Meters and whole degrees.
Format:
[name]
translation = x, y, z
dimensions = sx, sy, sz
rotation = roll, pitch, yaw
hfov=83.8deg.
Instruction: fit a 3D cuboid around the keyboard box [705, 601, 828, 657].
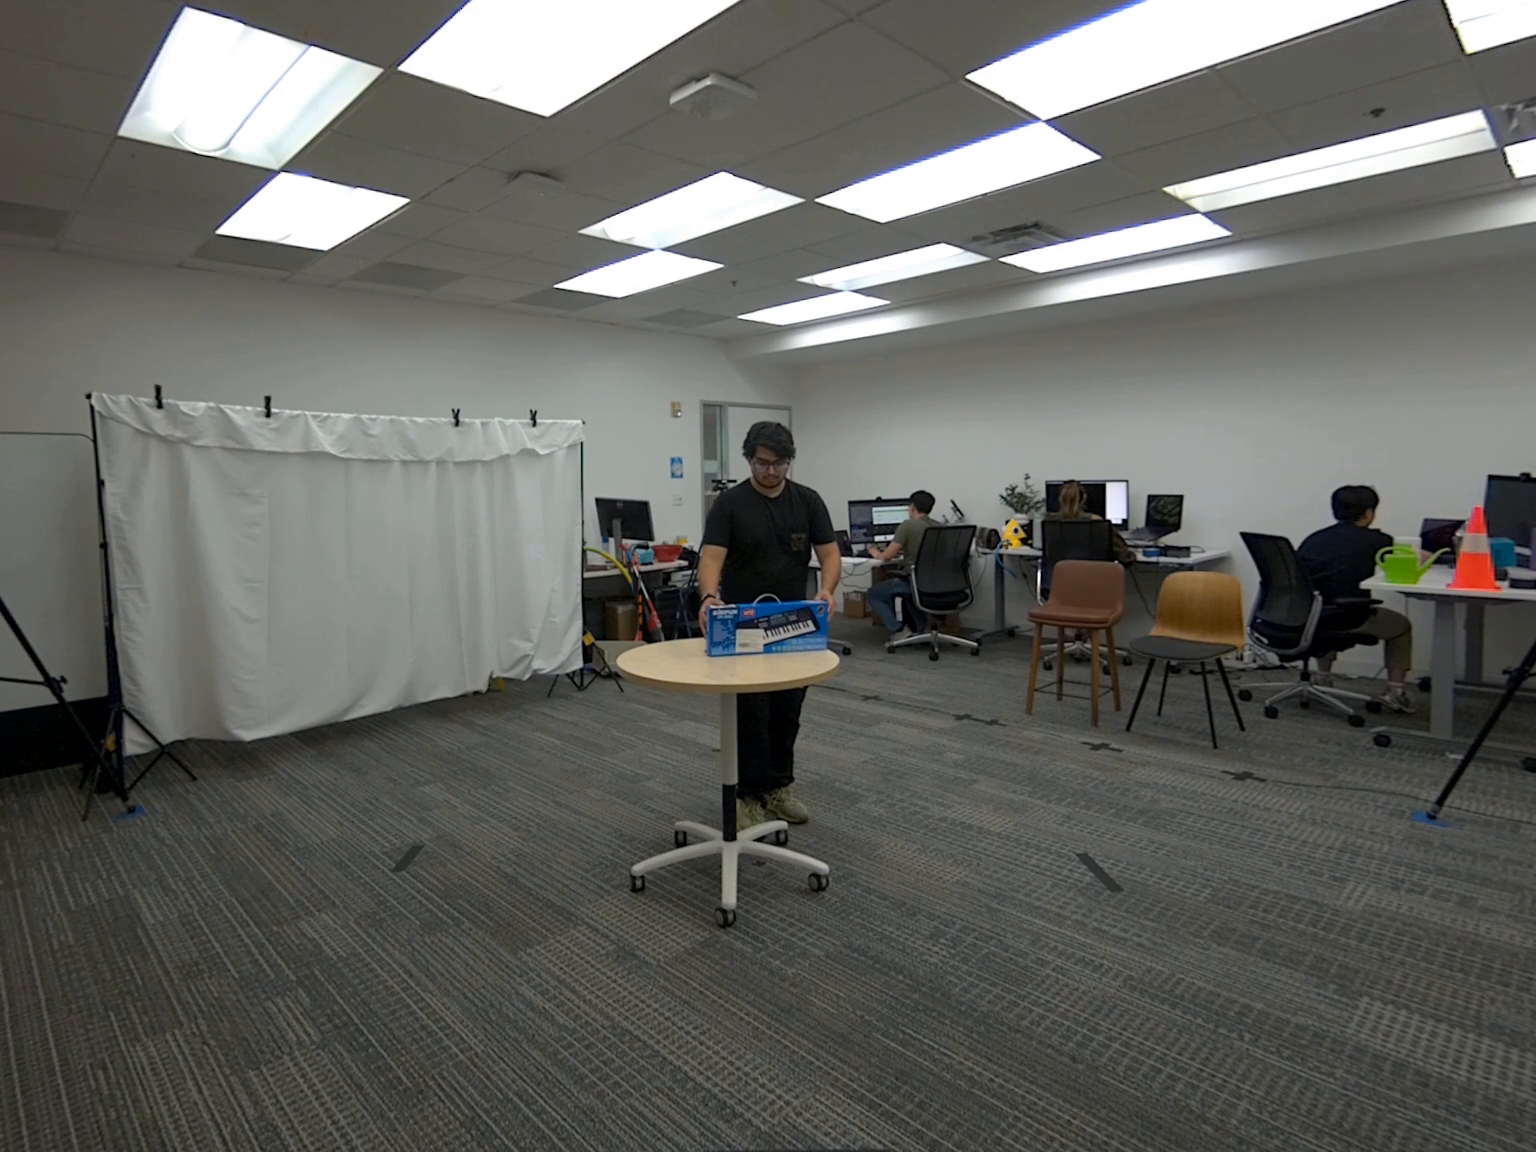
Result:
[keyboard box]
translation = -0.010, 0.190, 3.031
dimensions = 0.431, 0.175, 0.060
rotation = -2, 4, -14
